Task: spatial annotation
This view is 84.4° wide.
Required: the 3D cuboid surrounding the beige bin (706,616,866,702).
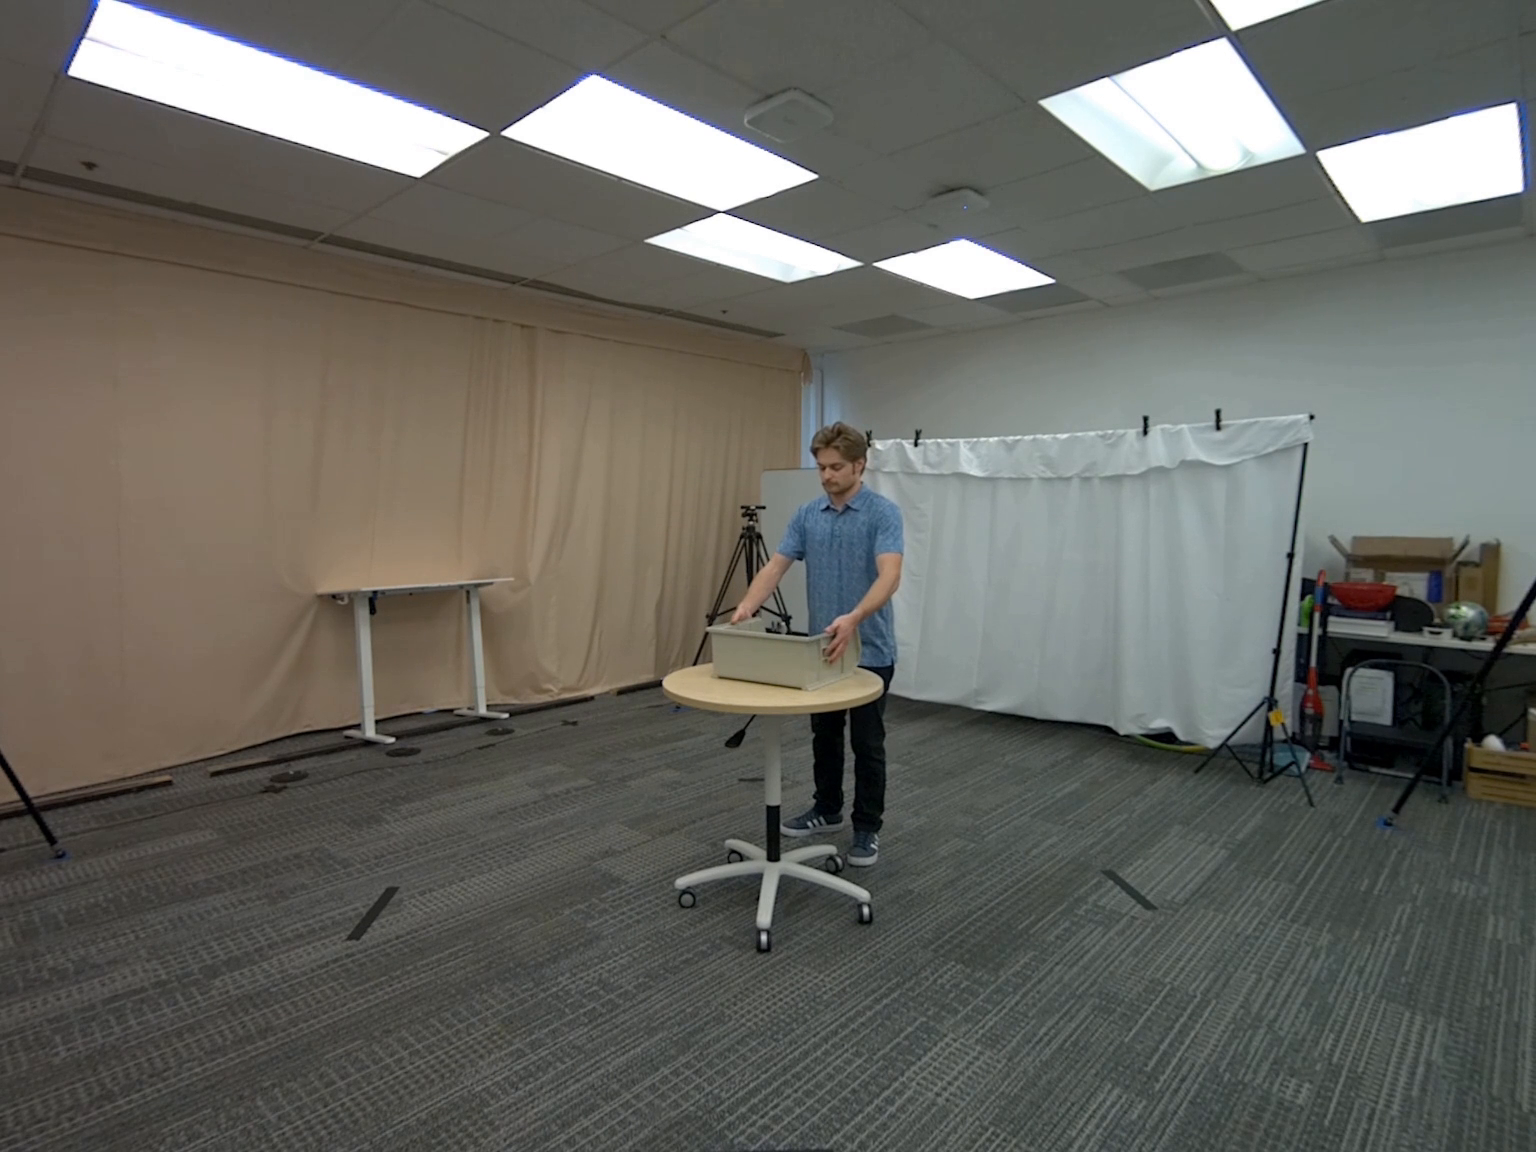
[{"bbox_3d":[0.064,0.277,2.983,0.435,0.188,0.367,3,7,35],"label":"beige bin"}]
